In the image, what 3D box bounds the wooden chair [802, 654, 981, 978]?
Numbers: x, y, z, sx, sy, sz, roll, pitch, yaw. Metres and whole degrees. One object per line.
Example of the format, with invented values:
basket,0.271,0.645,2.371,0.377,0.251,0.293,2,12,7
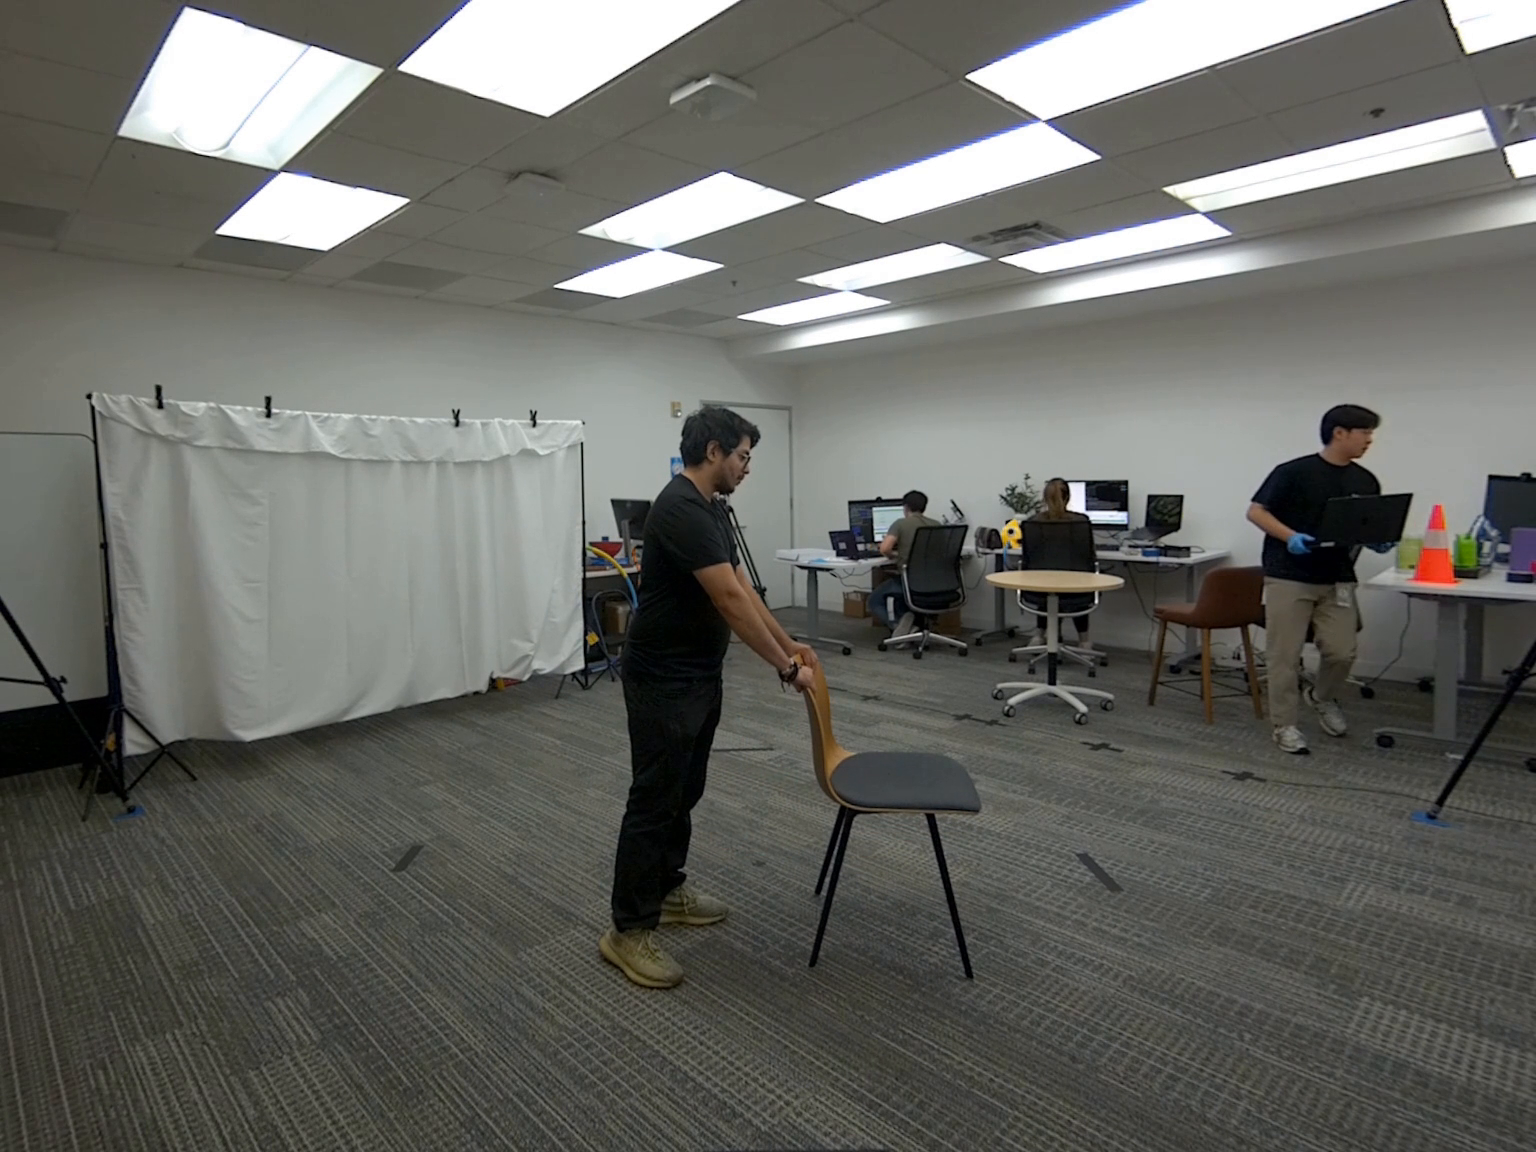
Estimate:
wooden chair,0.367,0.666,2.604,0.527,0.875,0.476,-5,3,7
